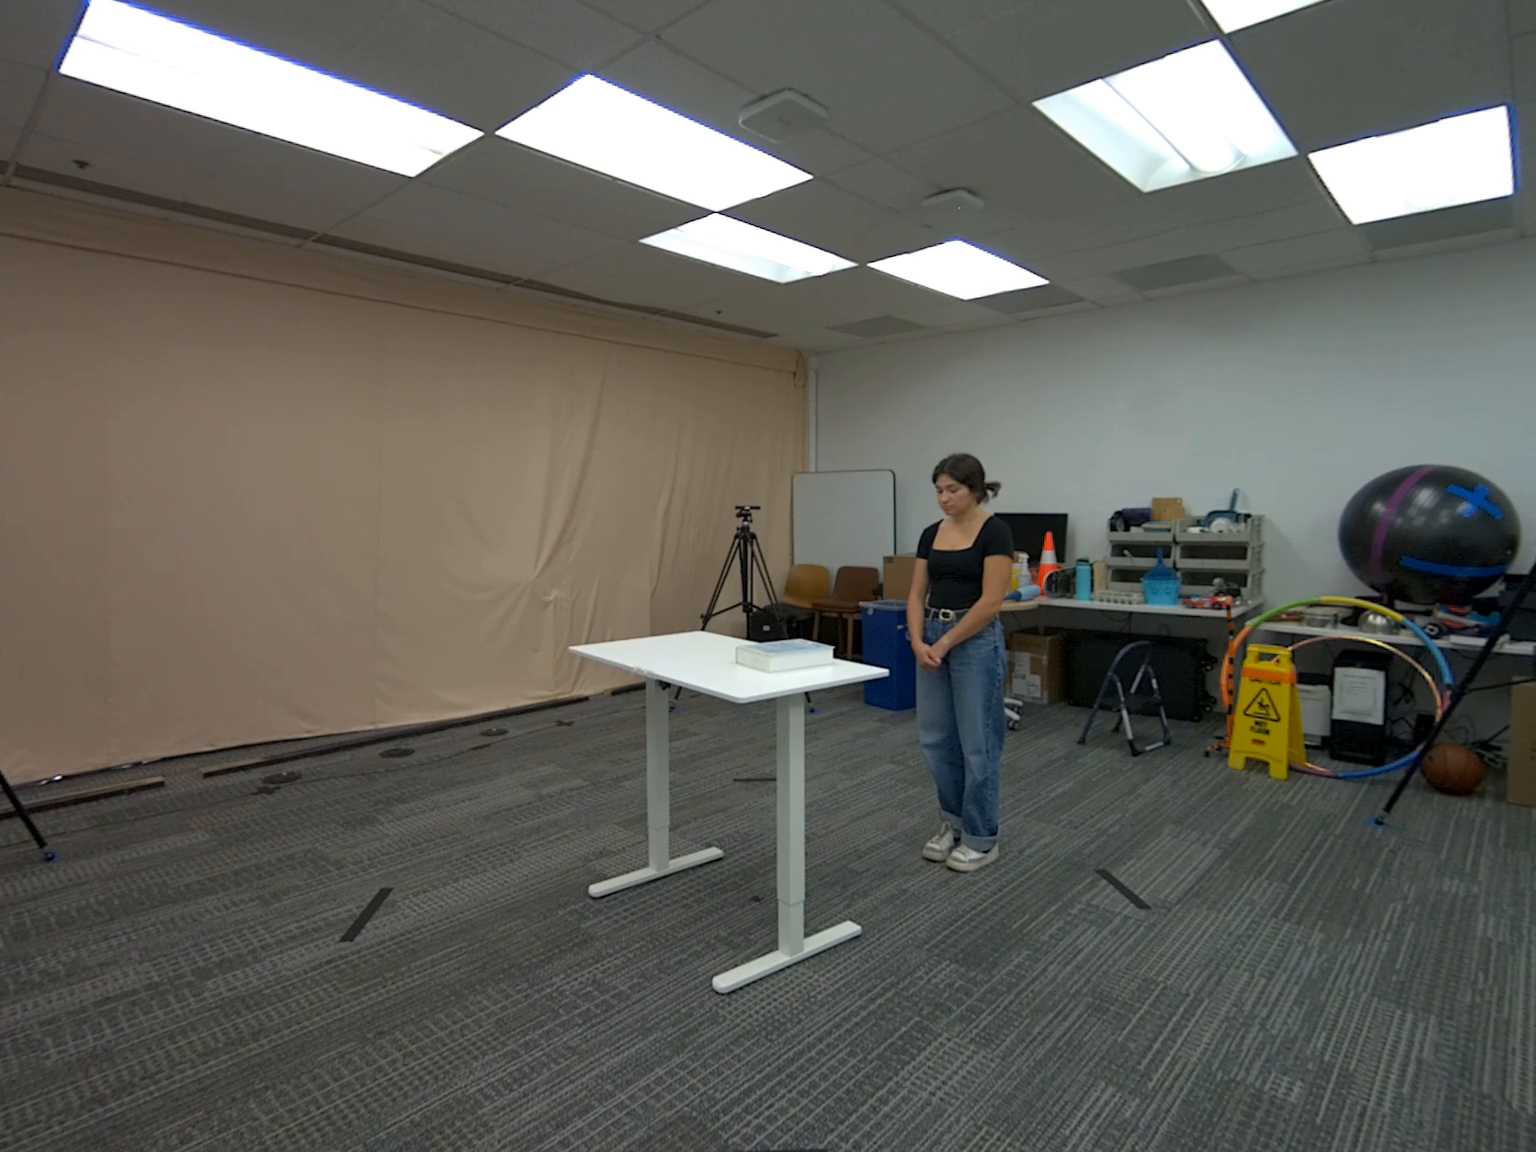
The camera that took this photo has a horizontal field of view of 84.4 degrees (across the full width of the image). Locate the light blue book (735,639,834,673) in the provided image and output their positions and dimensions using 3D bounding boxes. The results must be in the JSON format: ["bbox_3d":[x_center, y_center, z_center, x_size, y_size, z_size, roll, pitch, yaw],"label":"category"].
[{"bbox_3d":[0.062,0.255,2.721,0.253,0.059,0.197,-3,7,-35],"label":"light blue book"}]
